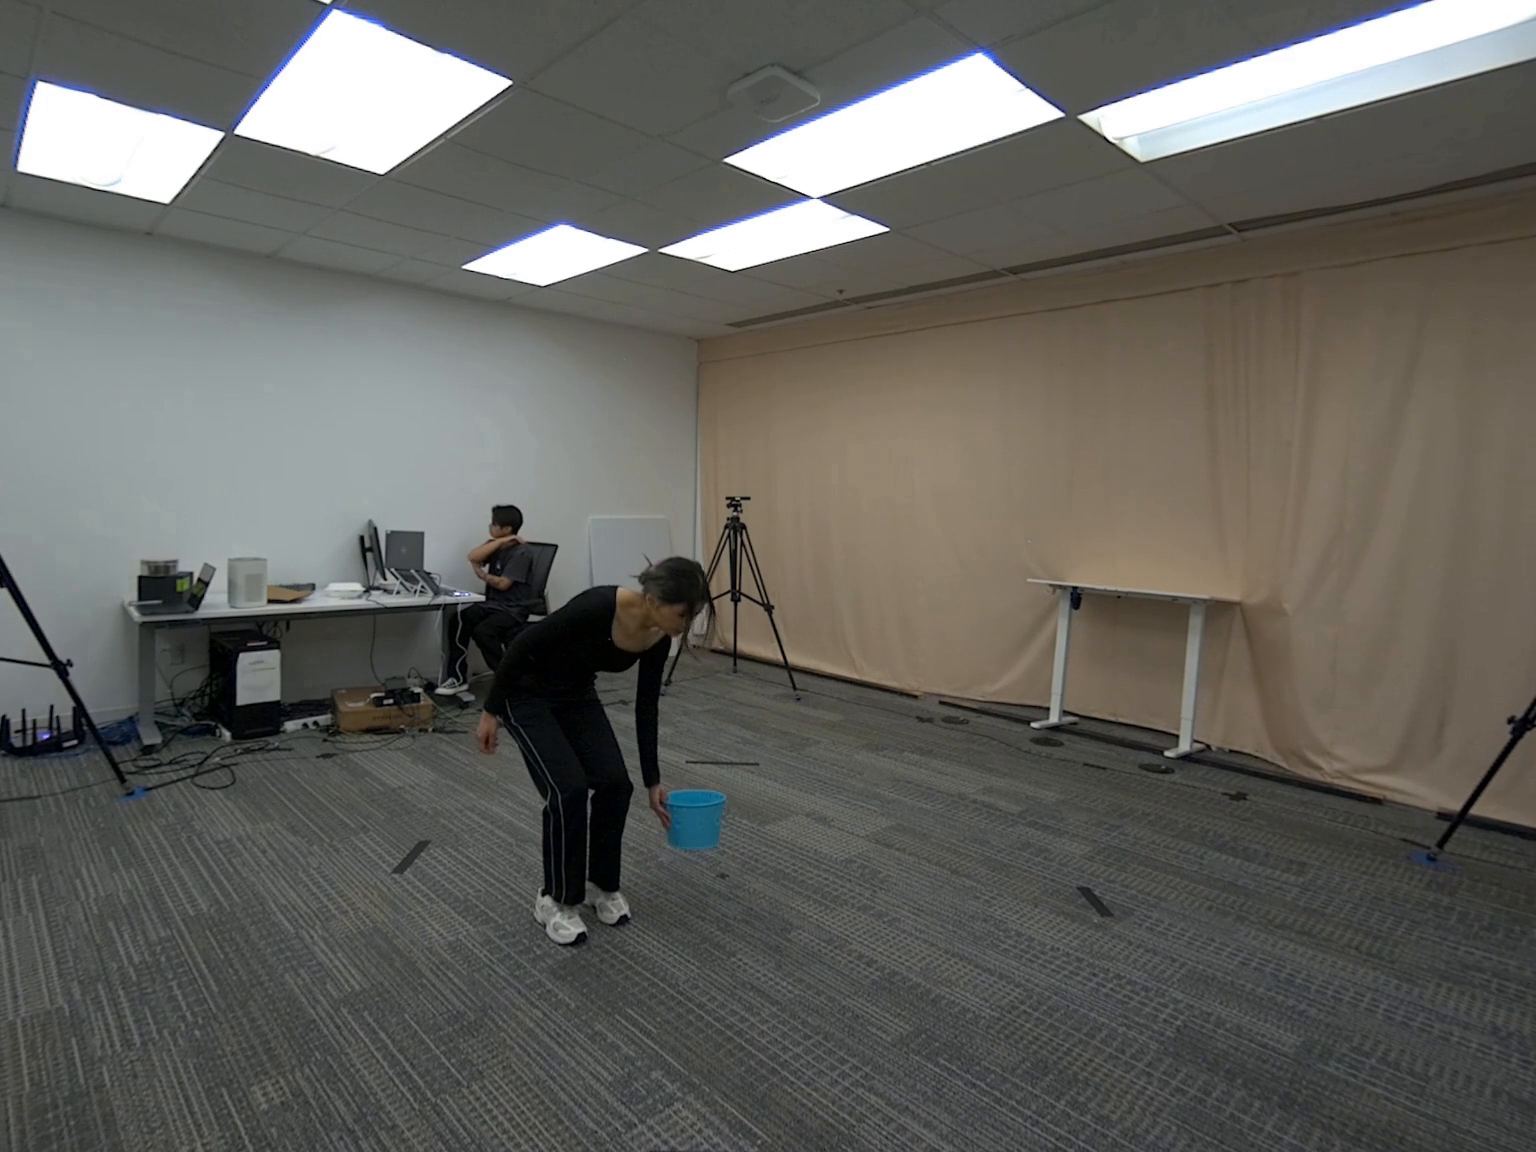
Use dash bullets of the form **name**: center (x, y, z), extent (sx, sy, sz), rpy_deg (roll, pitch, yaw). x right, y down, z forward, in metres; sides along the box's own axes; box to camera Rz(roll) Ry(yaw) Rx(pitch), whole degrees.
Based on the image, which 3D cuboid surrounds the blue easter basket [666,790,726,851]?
- **blue easter basket**: center (-0.269, 0.846, 2.926), extent (0.243, 0.156, 0.243), rpy_deg (0, -1, -1)
